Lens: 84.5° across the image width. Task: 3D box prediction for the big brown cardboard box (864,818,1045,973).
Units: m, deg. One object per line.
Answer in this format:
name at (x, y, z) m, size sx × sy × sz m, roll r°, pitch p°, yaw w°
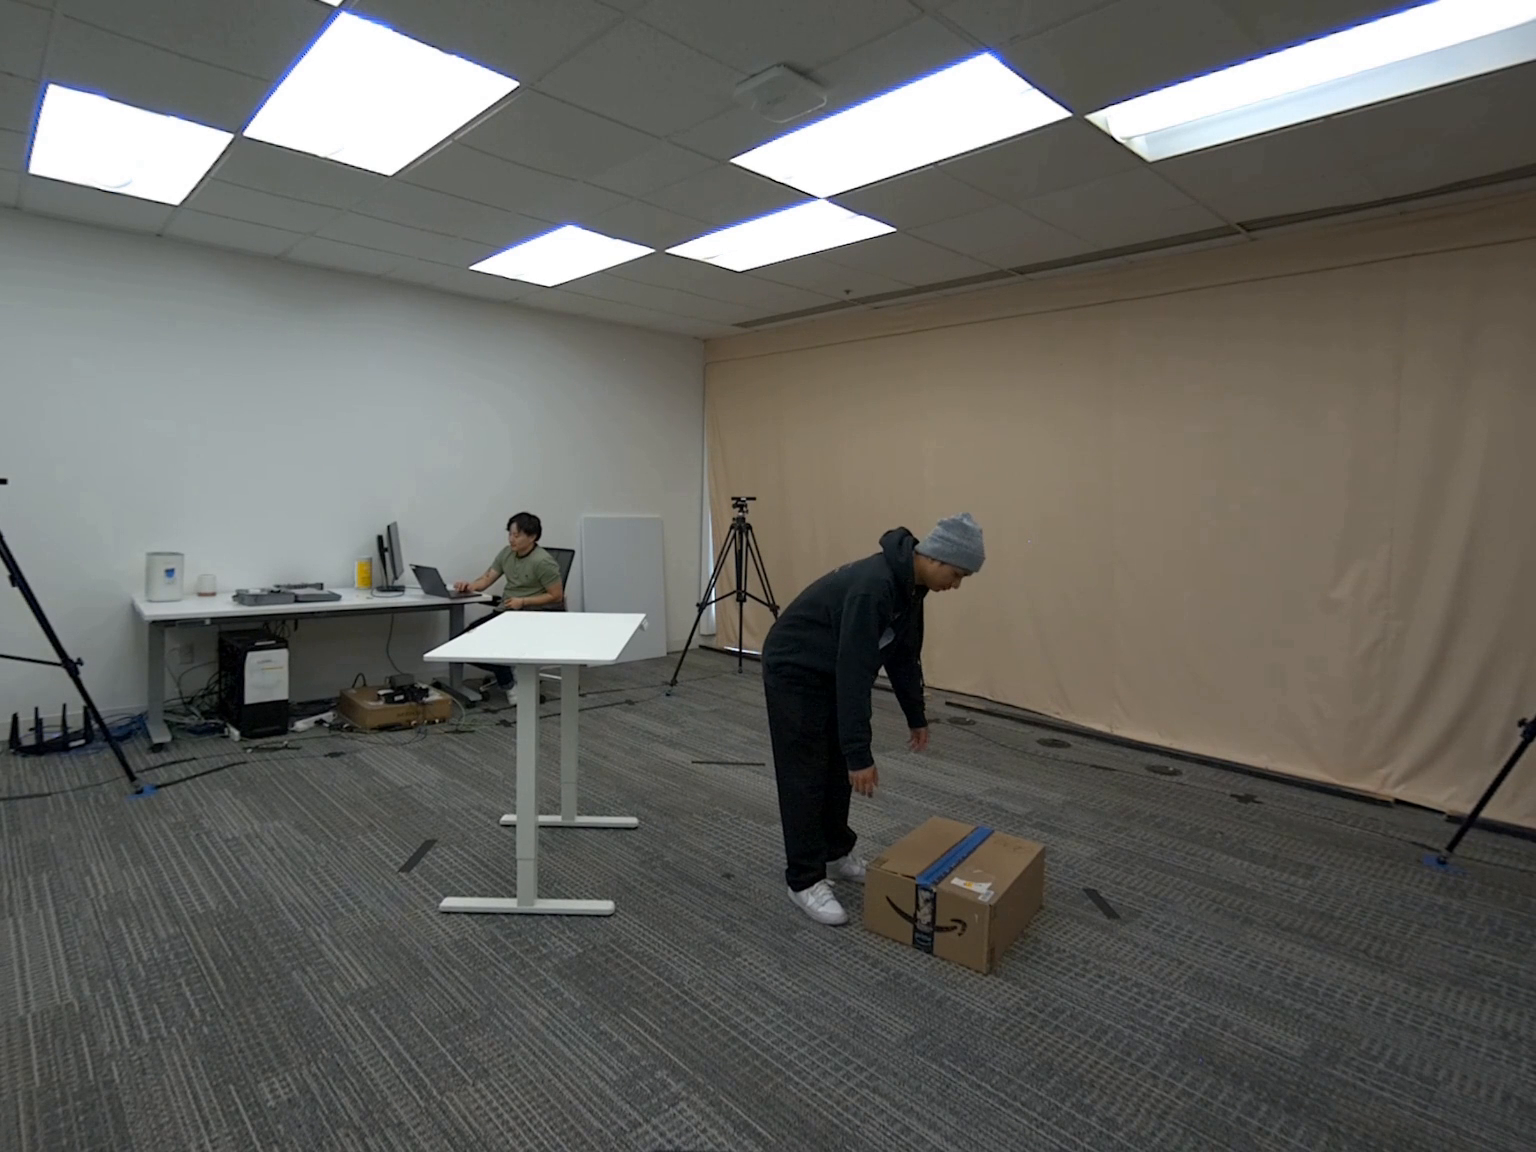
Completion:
big brown cardboard box at (0.629, 1.041, 2.827) m, size 0.427 × 0.232 × 0.576 m, roll 5°, pitch 5°, yaw 34°
